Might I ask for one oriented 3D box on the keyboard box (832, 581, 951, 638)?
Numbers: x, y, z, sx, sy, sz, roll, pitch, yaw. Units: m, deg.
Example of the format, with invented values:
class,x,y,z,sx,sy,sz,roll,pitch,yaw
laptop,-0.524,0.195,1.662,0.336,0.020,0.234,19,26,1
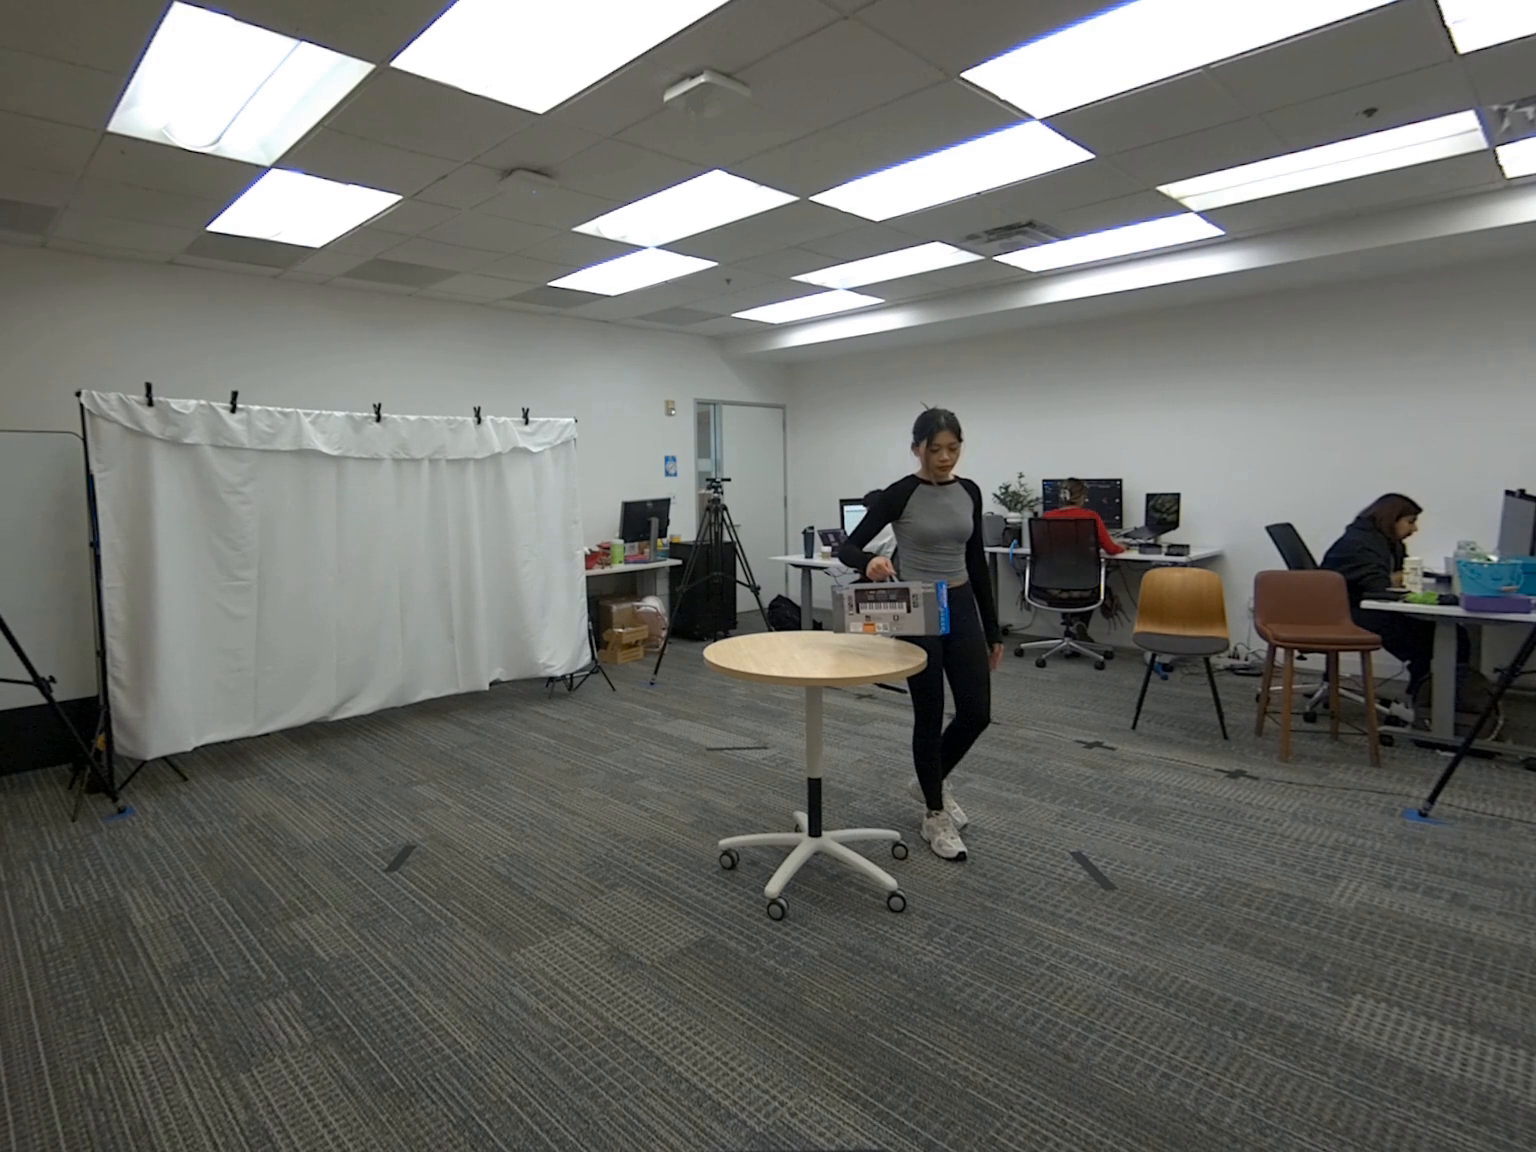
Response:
class,x,y,z,sx,sy,sz,roll,pitch,yaw
keyboard box,0.406,0.111,2.900,0.057,0.176,0.448,-1,-1,-45
